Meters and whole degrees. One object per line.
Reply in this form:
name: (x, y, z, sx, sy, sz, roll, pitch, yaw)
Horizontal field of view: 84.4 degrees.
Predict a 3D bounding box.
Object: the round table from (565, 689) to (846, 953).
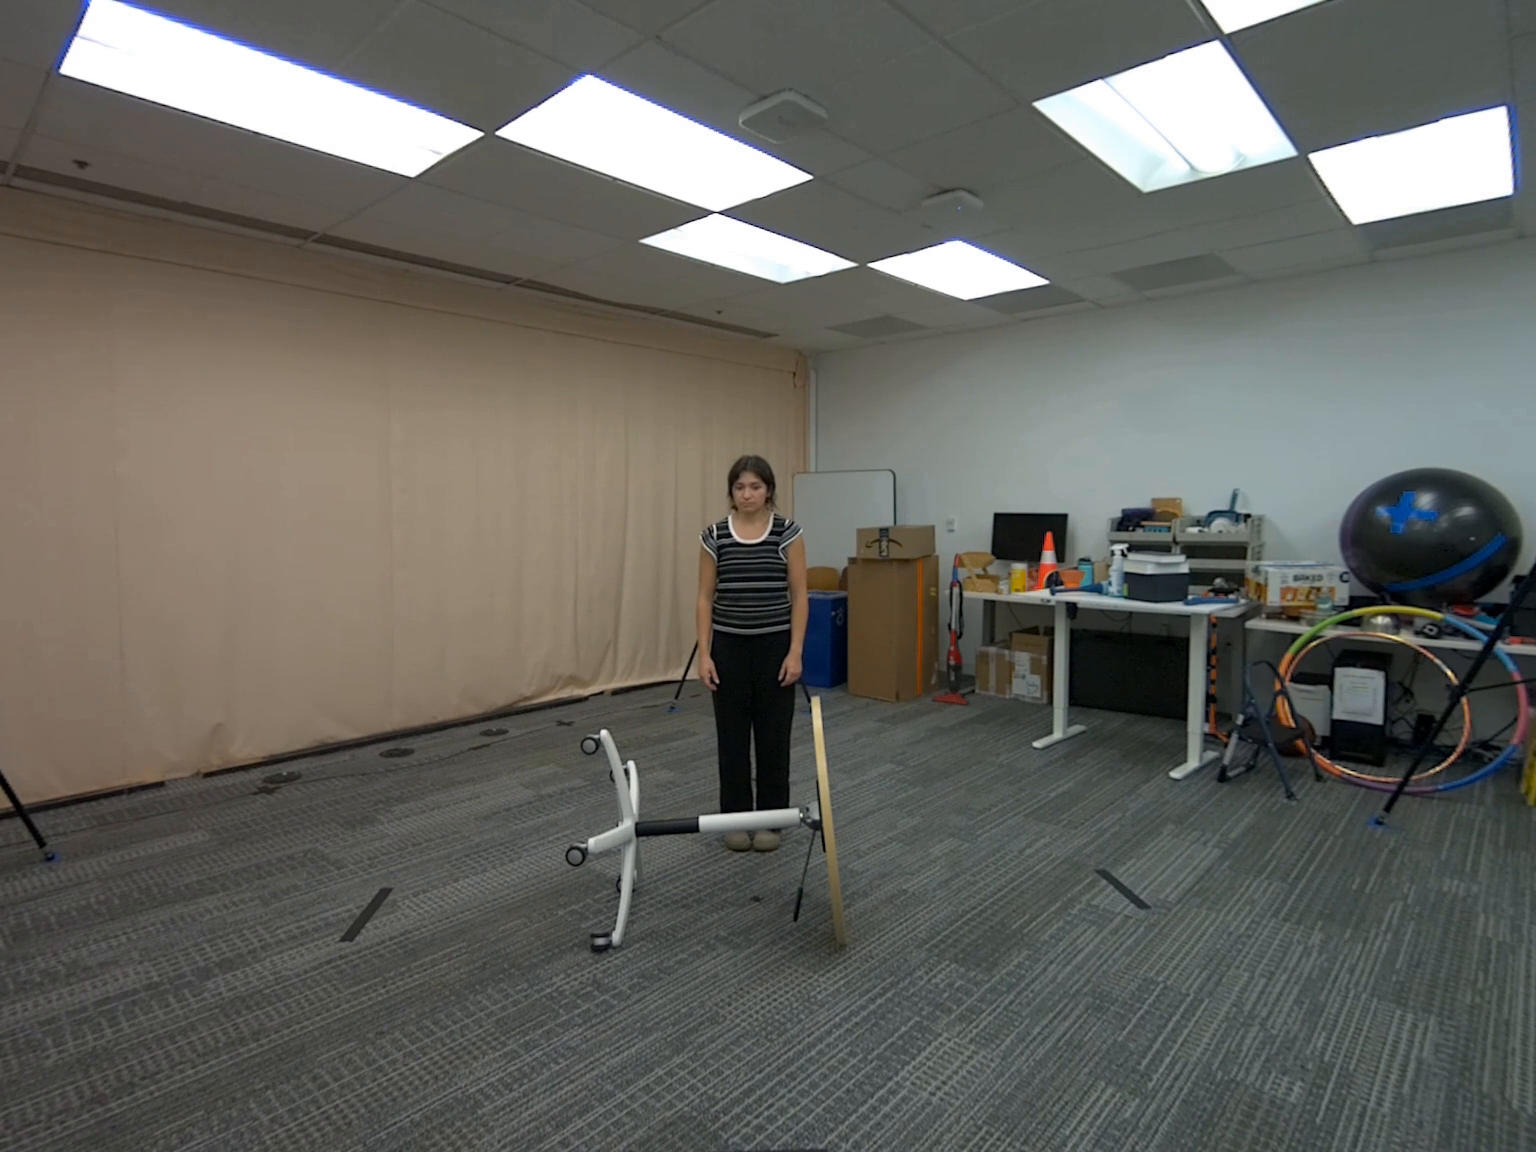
round table: (-0.187, 0.831, 2.787, 0.798, 0.762, 0.762, -6, 3, 4)
